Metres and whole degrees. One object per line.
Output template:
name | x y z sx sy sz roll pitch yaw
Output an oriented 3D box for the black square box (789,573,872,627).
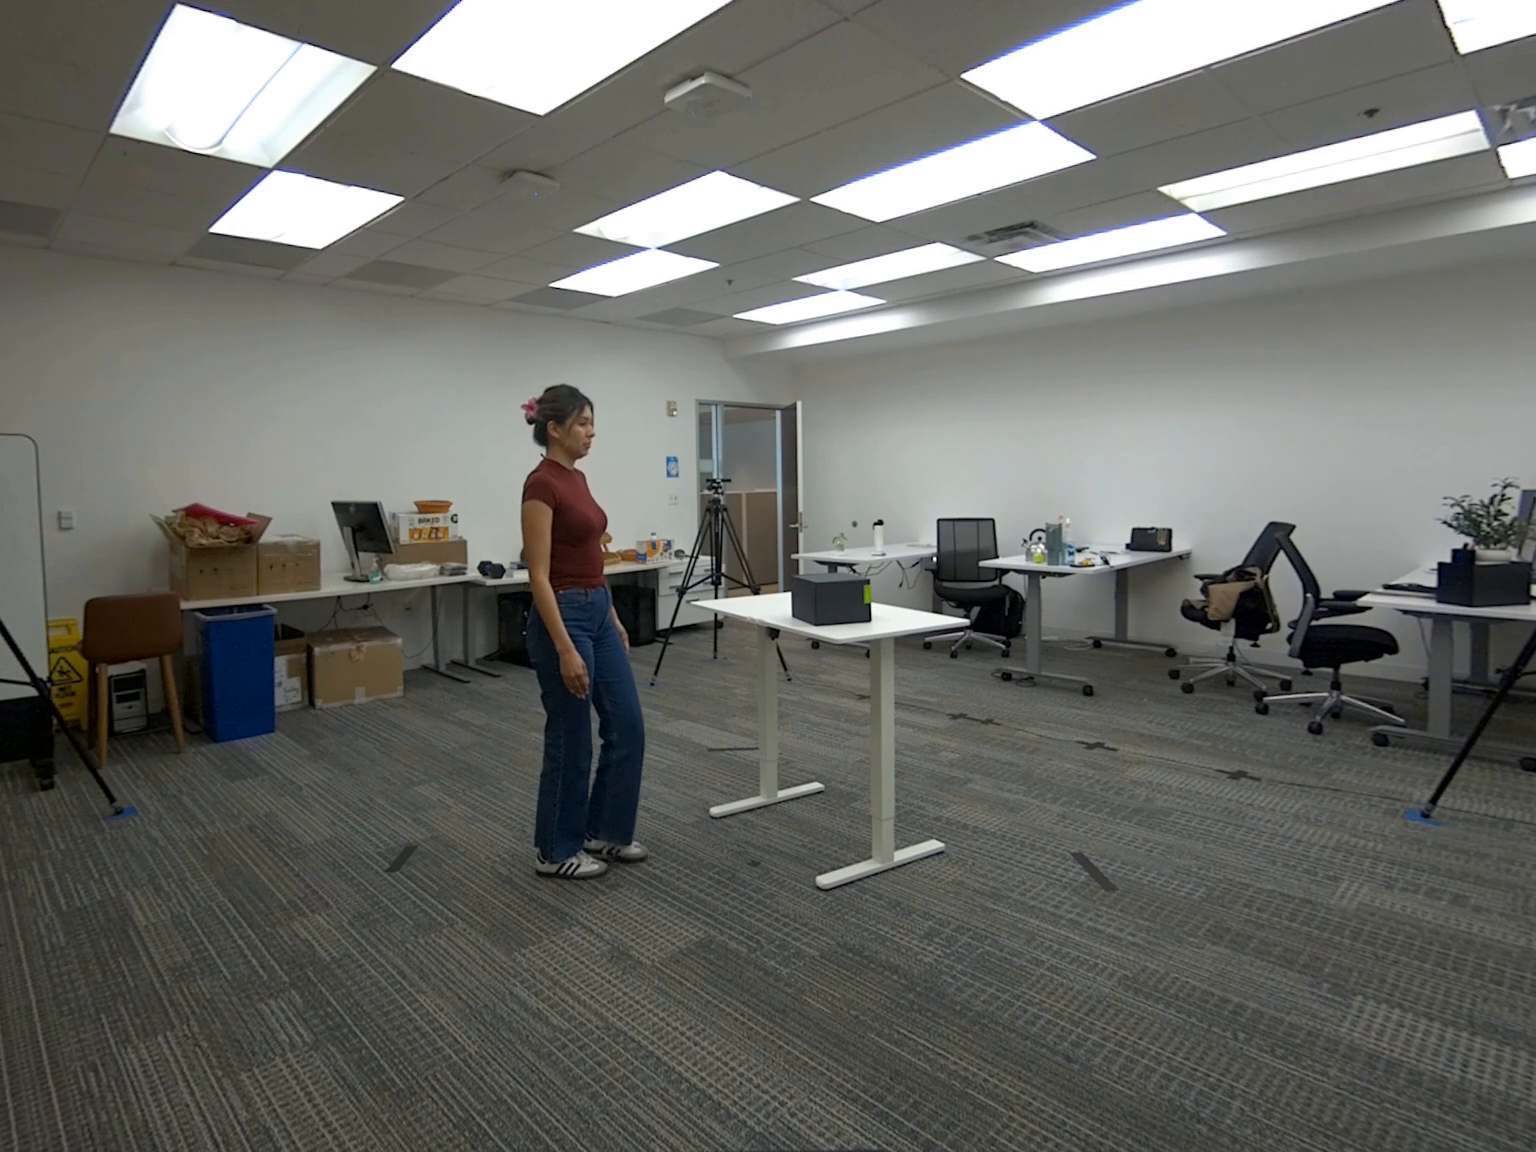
black square box | 0.227 0.079 3.096 0.213 0.155 0.233 -3 7 -18
